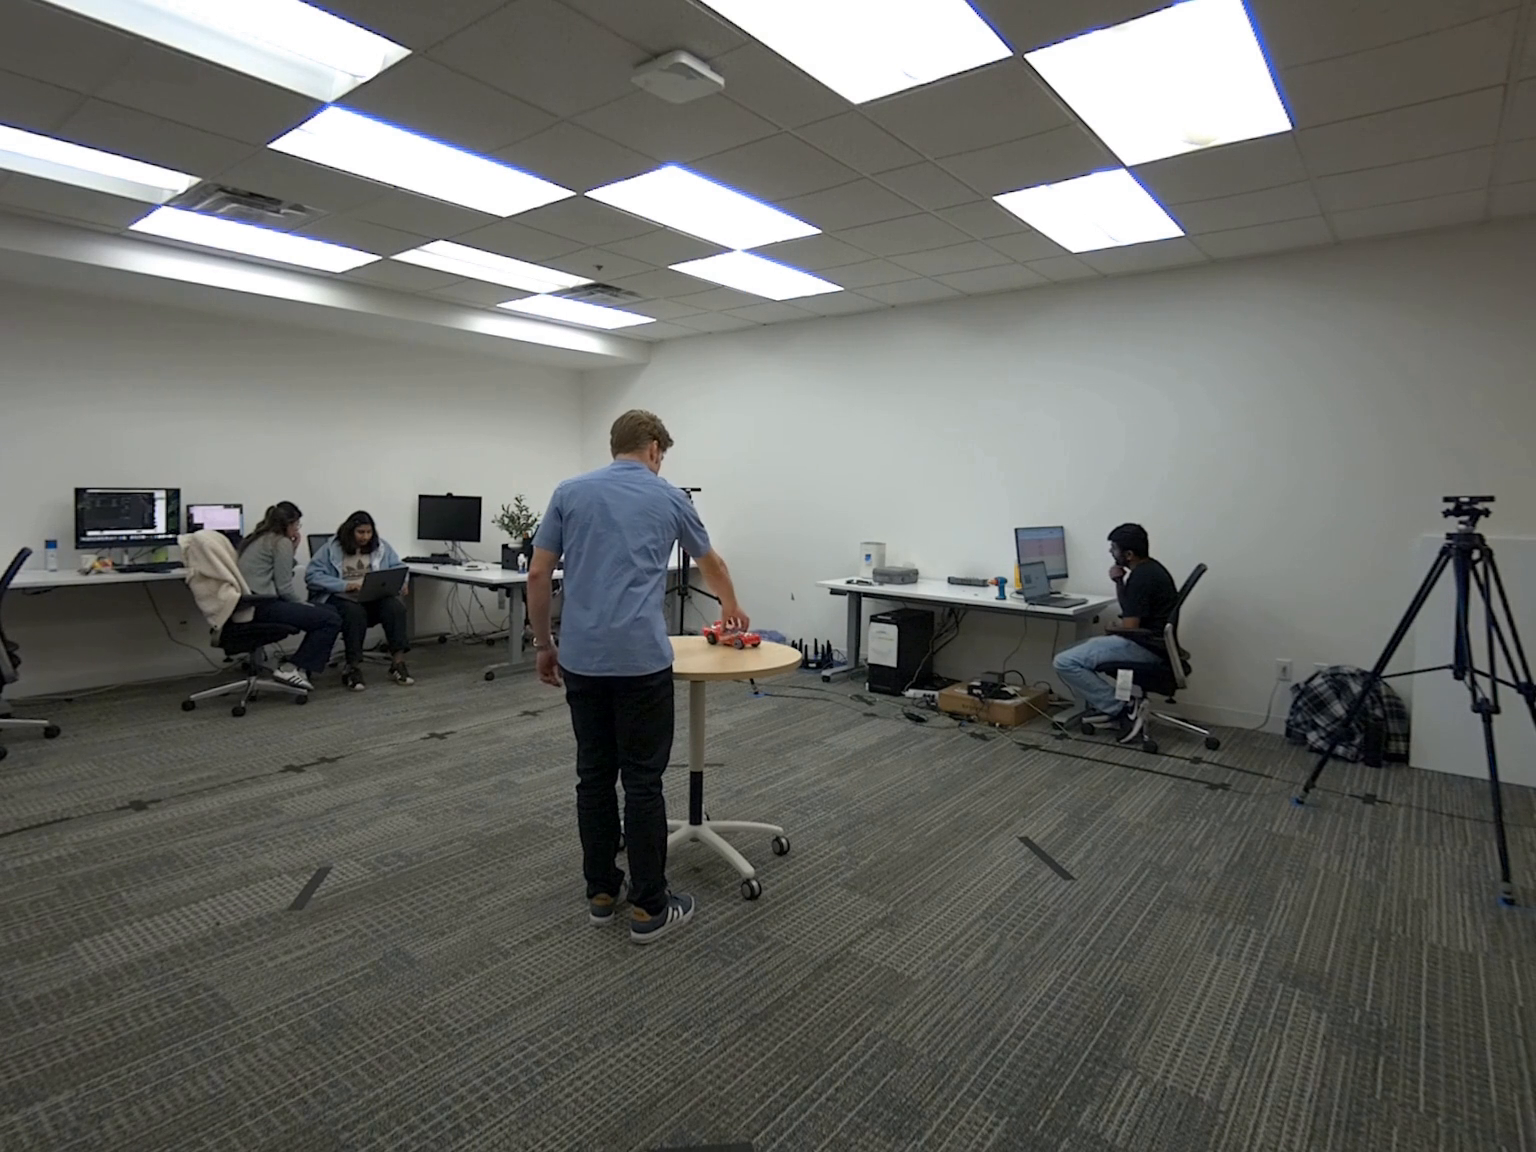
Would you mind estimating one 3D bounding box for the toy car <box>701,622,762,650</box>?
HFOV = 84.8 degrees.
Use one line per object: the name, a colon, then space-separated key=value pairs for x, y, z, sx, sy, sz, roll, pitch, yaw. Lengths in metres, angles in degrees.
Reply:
toy car: x=-0.160 y=0.236 z=3.333 sx=0.265 sy=0.082 sz=0.126 roll=20 pitch=15 yaw=41
